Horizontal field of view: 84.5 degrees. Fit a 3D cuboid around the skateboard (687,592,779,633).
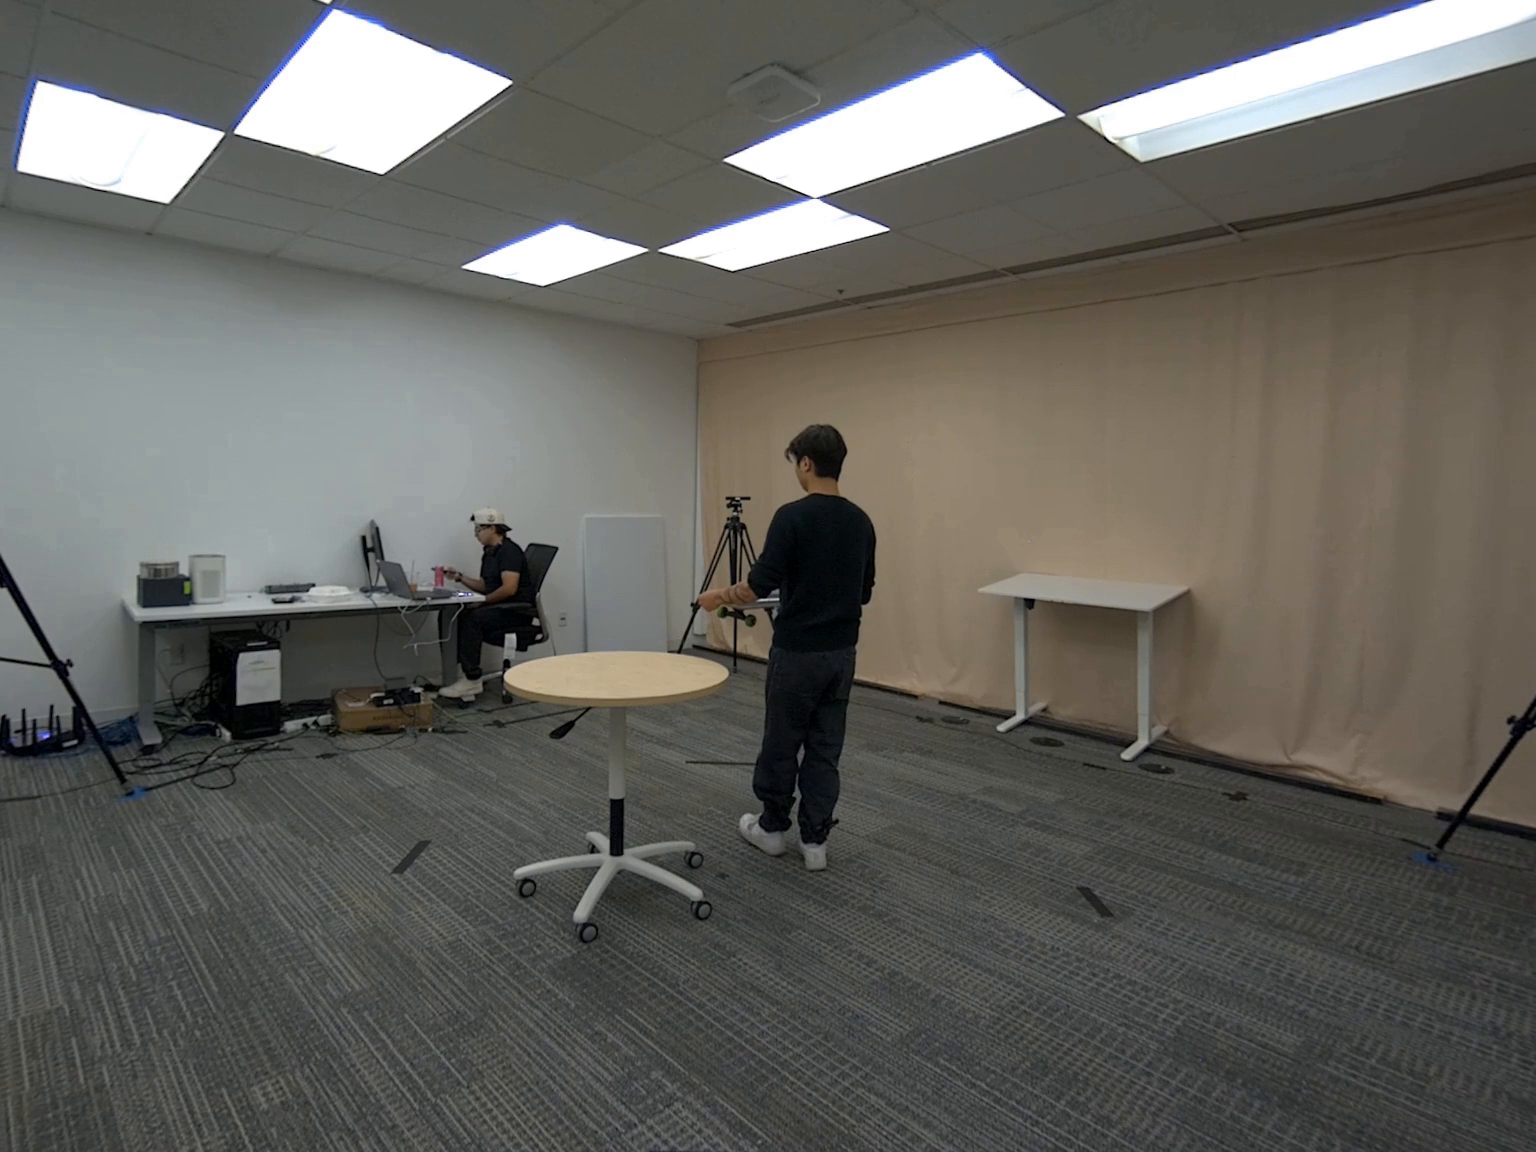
[{"bbox_3d":[0.004,0.136,3.592,0.199,0.110,0.767,15,10,39],"label":"skateboard"}]
